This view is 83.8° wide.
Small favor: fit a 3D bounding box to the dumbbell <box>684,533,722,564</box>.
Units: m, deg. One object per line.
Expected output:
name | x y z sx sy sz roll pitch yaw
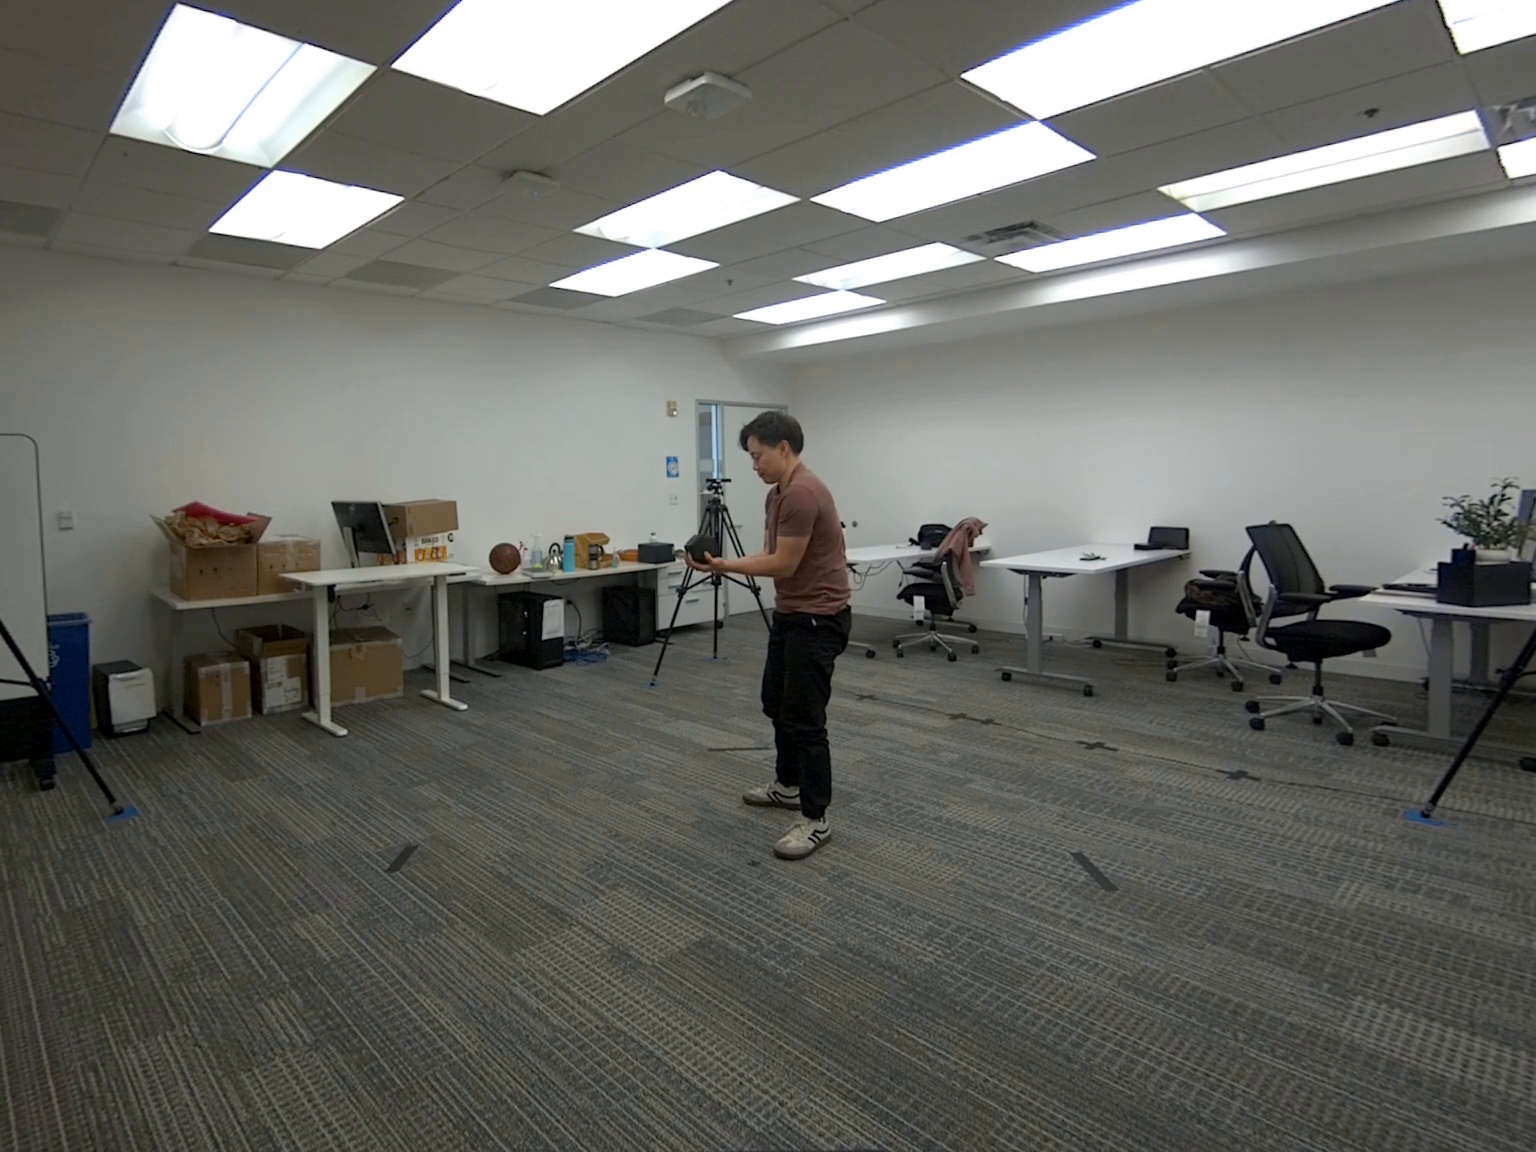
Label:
dumbbell | -0.252 -0.103 3.357 0.122 0.108 0.295 9 3 -6
